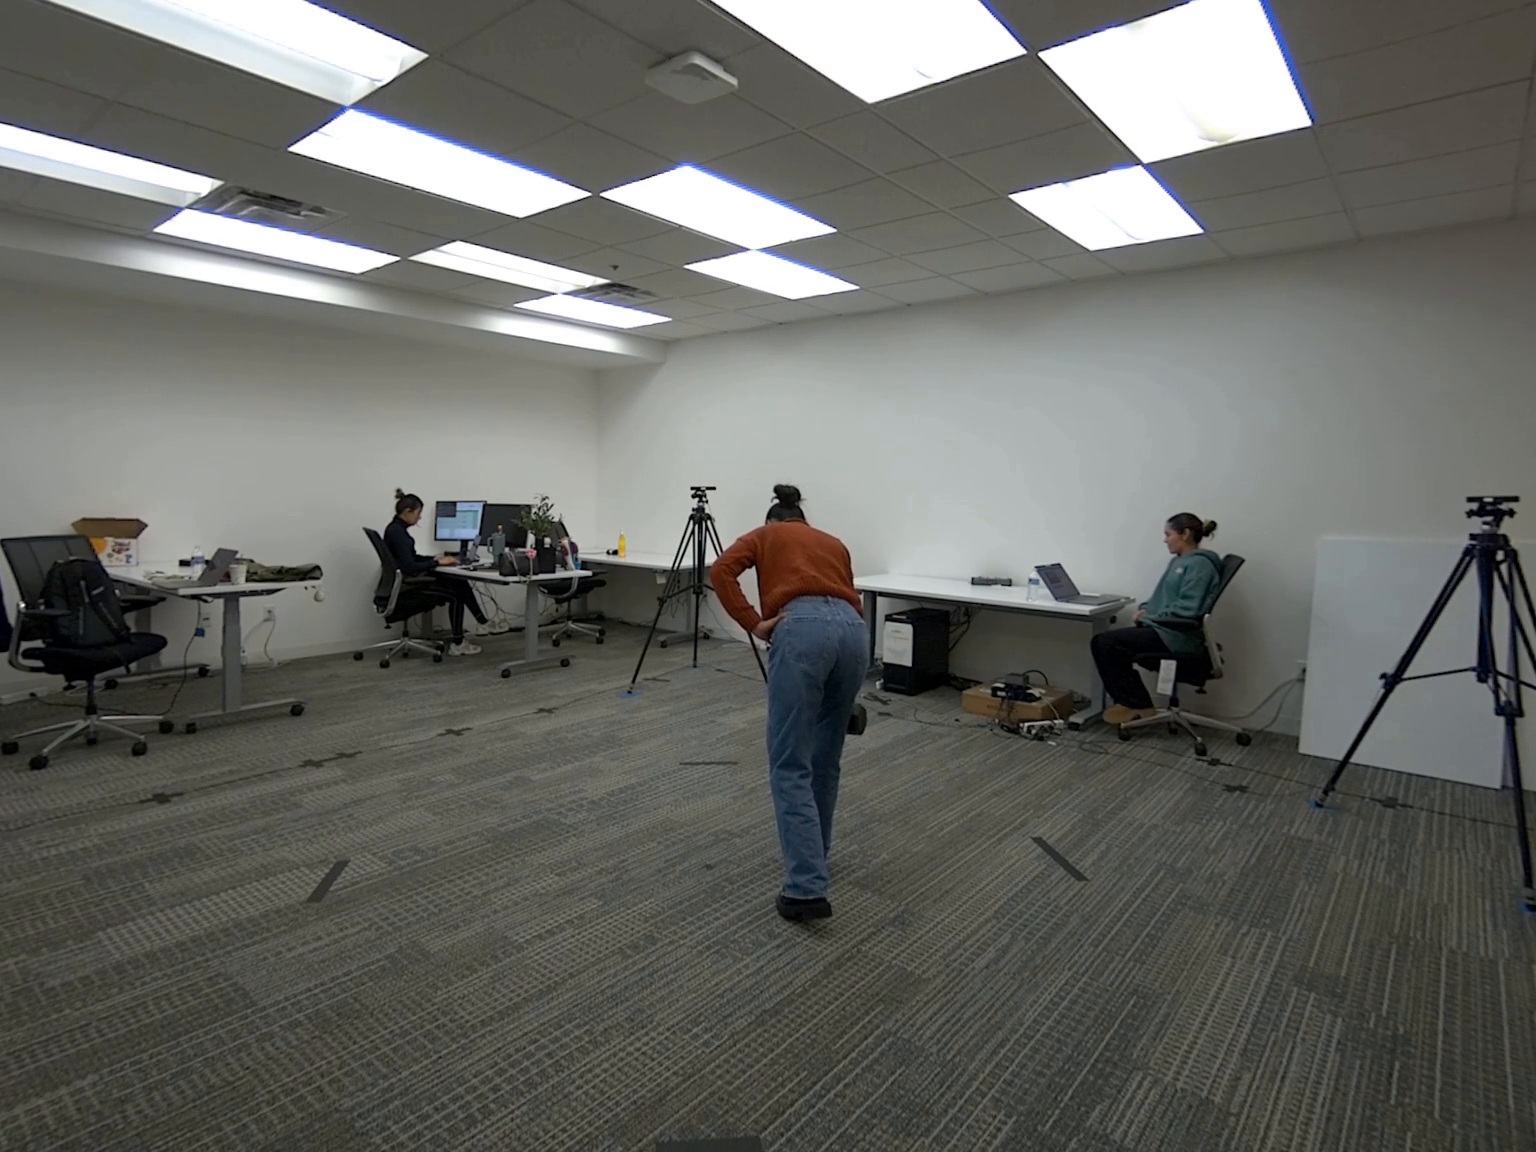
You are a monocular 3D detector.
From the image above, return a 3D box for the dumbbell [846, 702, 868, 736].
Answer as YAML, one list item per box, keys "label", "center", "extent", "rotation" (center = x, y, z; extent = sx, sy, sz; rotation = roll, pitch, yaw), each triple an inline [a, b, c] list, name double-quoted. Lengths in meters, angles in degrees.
- label: "dumbbell"
  center: [0.216, 0.532, 3.232]
  extent: [0.302, 0.122, 0.106]
  rotation: [0, 6, 31]
